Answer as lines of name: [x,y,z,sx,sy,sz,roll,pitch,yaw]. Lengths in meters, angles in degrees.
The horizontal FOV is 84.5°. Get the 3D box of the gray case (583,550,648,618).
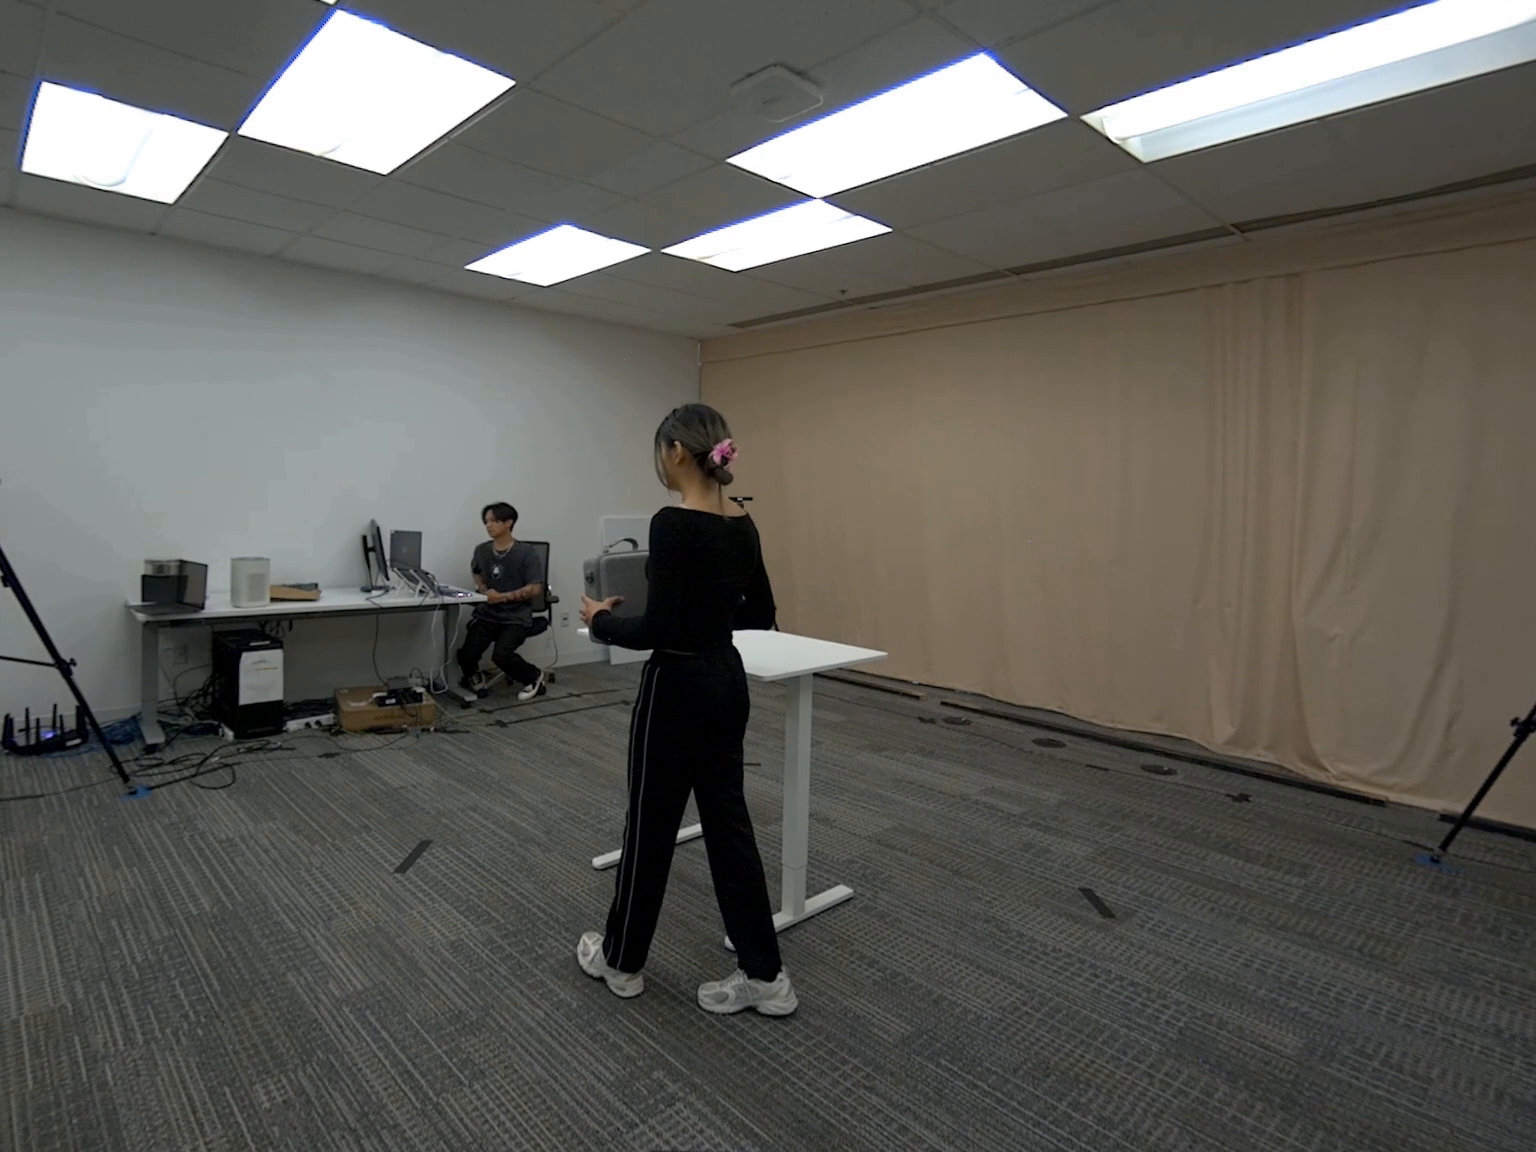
gray case: [-0.400,0.056,2.418,0.106,0.260,0.251,-5,1,41]
